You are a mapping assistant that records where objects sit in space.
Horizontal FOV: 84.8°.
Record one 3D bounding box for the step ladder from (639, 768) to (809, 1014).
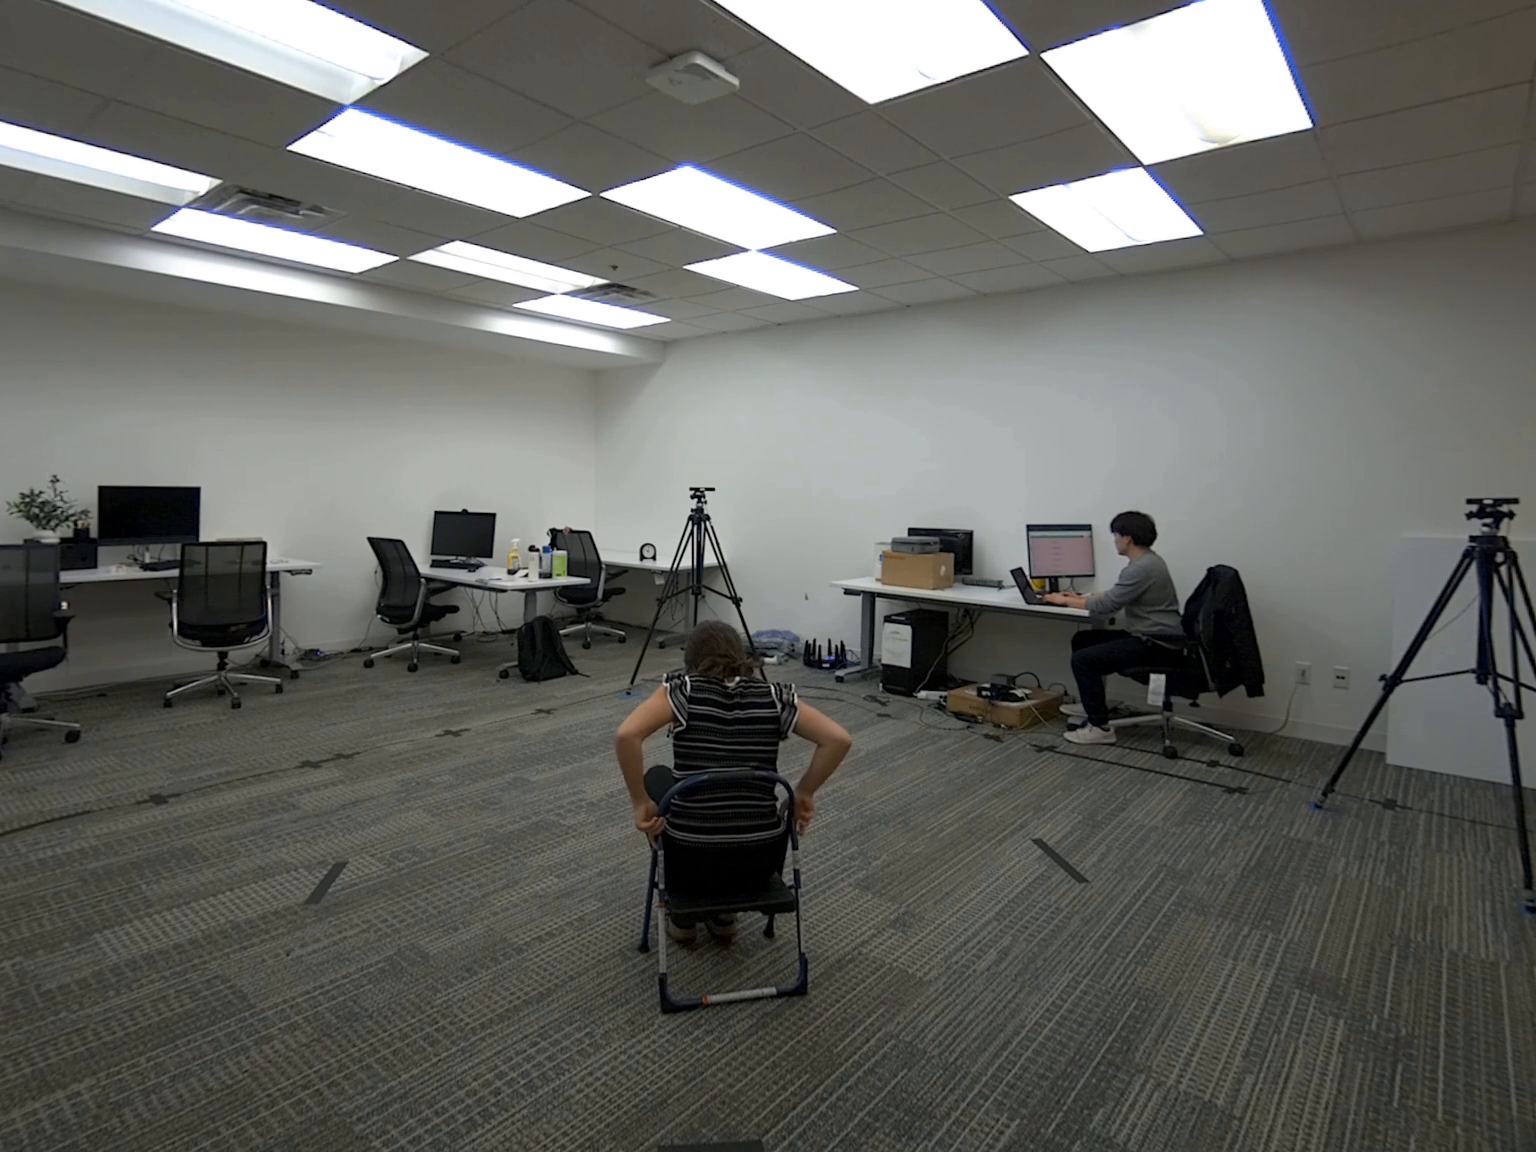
[{"bbox_3d":[-0.135,0.840,2.441,0.423,0.604,0.356,-1,3,-18],"label":"step ladder"}]
